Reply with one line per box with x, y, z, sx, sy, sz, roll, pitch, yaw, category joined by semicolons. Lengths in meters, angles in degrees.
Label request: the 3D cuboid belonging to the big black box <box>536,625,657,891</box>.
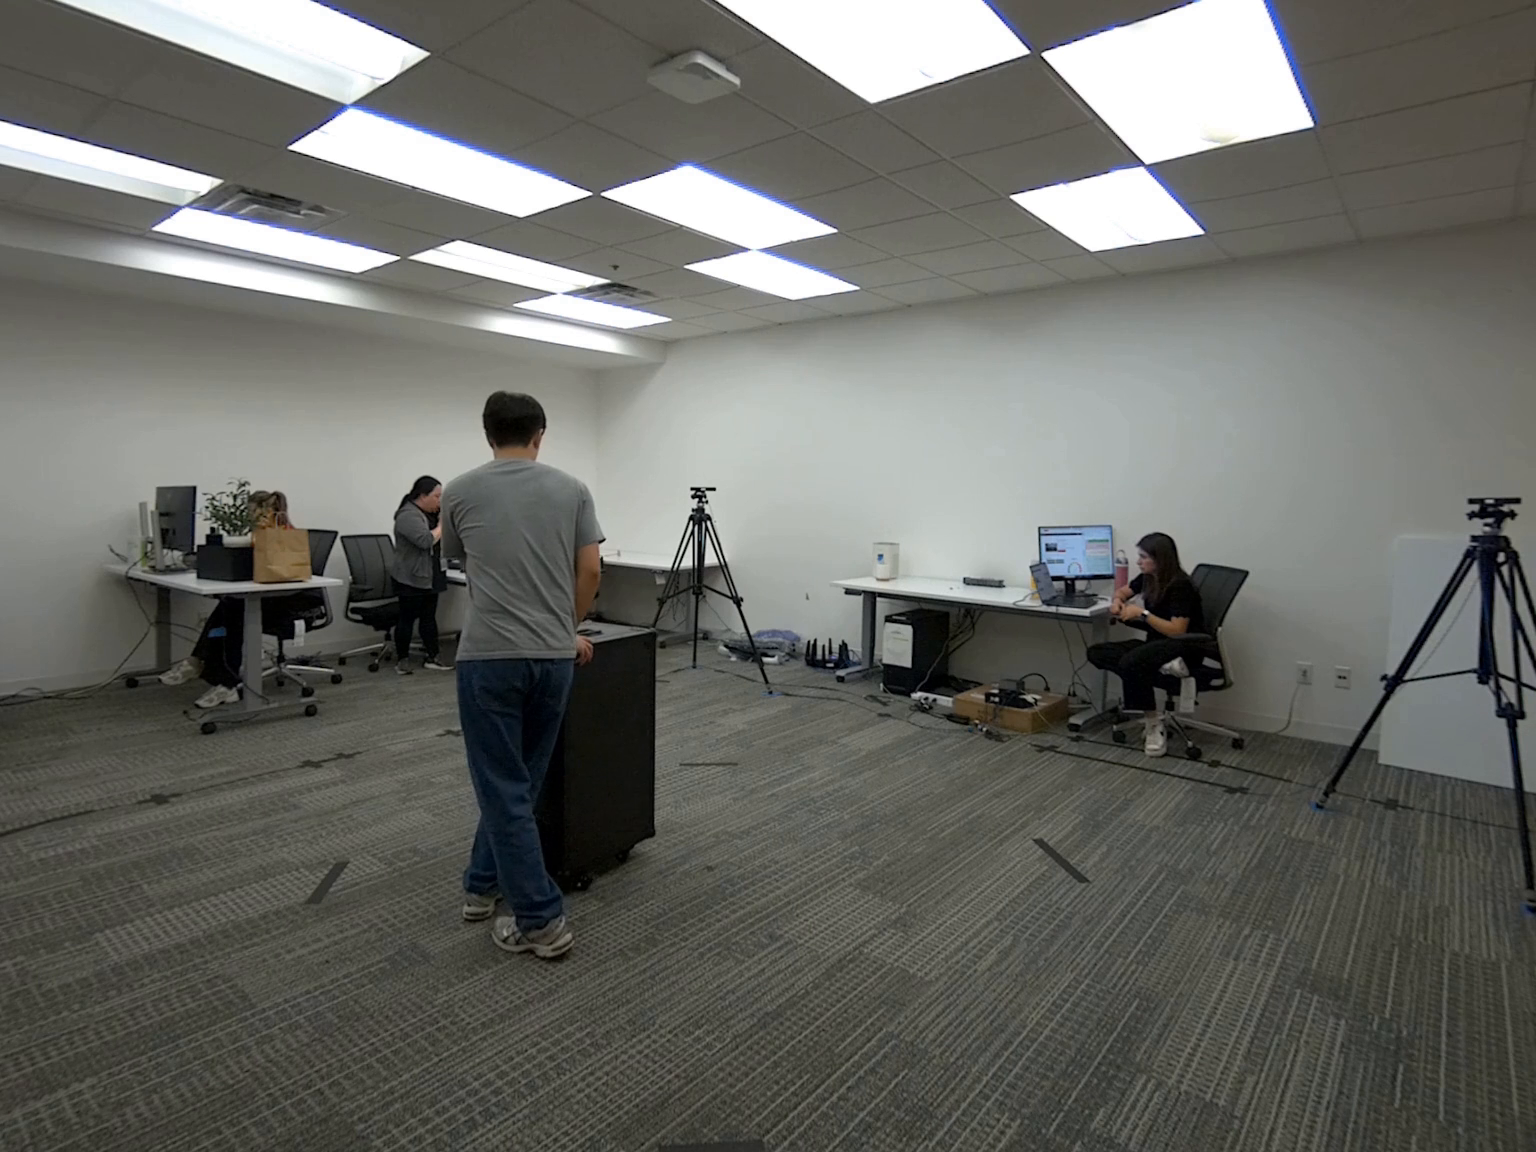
-0.719;0.631;3.115;0.408;0.859;0.507;2;3;33;big black box
